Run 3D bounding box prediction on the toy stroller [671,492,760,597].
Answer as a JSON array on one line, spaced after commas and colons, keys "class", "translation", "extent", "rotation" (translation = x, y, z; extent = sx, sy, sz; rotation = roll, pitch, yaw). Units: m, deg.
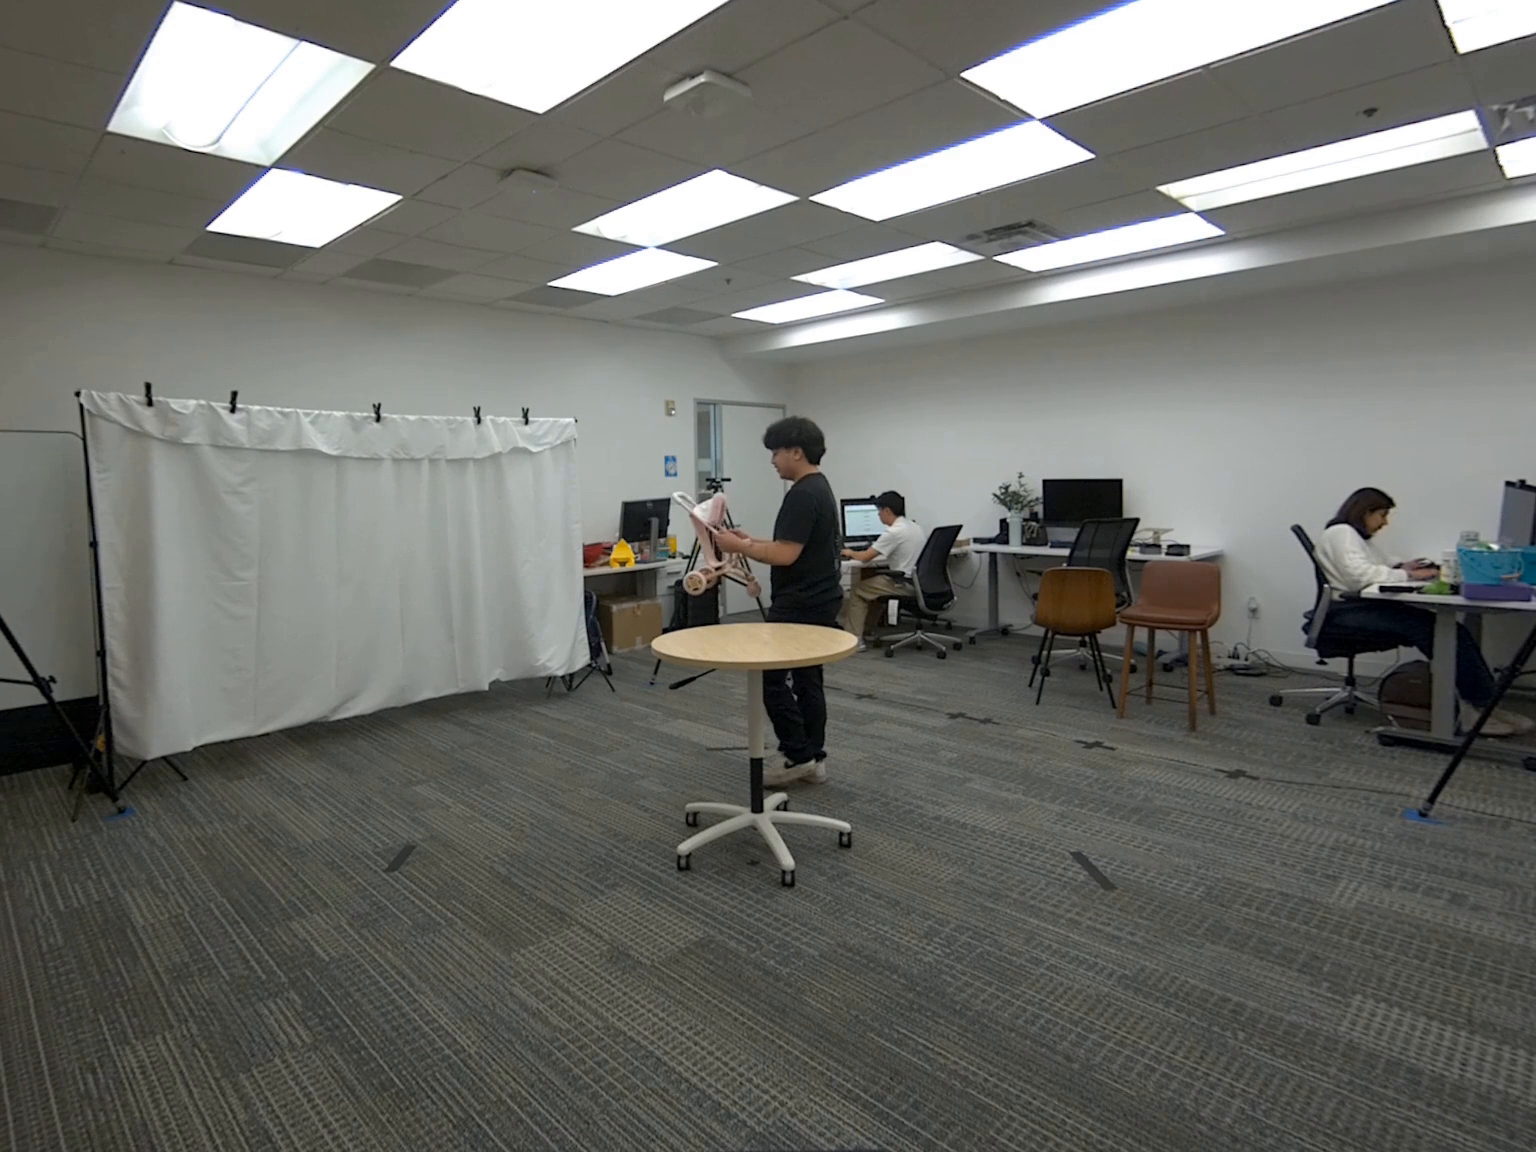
[{"class": "toy stroller", "translation": [-0.234, -0.145, 3.972], "extent": [0.346, 0.534, 0.278], "rotation": [-7, 2, 15]}]
